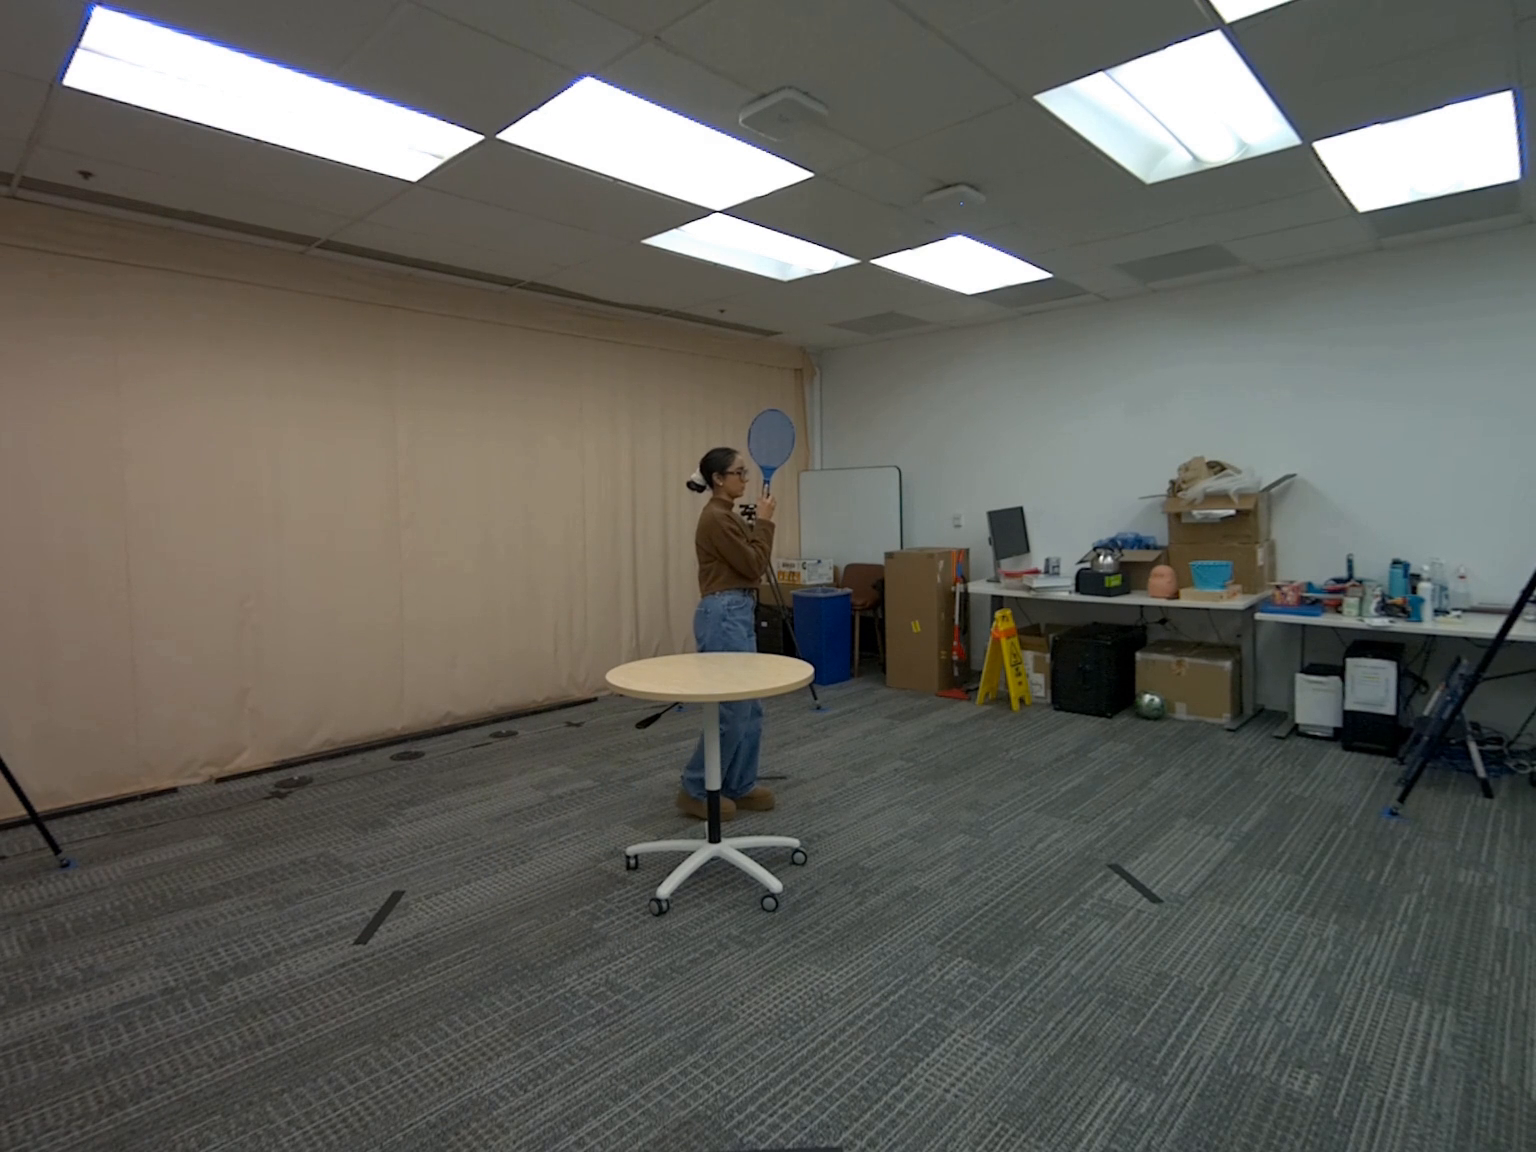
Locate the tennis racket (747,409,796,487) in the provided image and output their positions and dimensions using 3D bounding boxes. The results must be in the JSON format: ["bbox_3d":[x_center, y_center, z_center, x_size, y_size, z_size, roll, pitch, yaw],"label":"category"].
[{"bbox_3d":[0.001,-0.527,3.755,0.216,0.431,0.031,7,7,11],"label":"tennis racket"}]
